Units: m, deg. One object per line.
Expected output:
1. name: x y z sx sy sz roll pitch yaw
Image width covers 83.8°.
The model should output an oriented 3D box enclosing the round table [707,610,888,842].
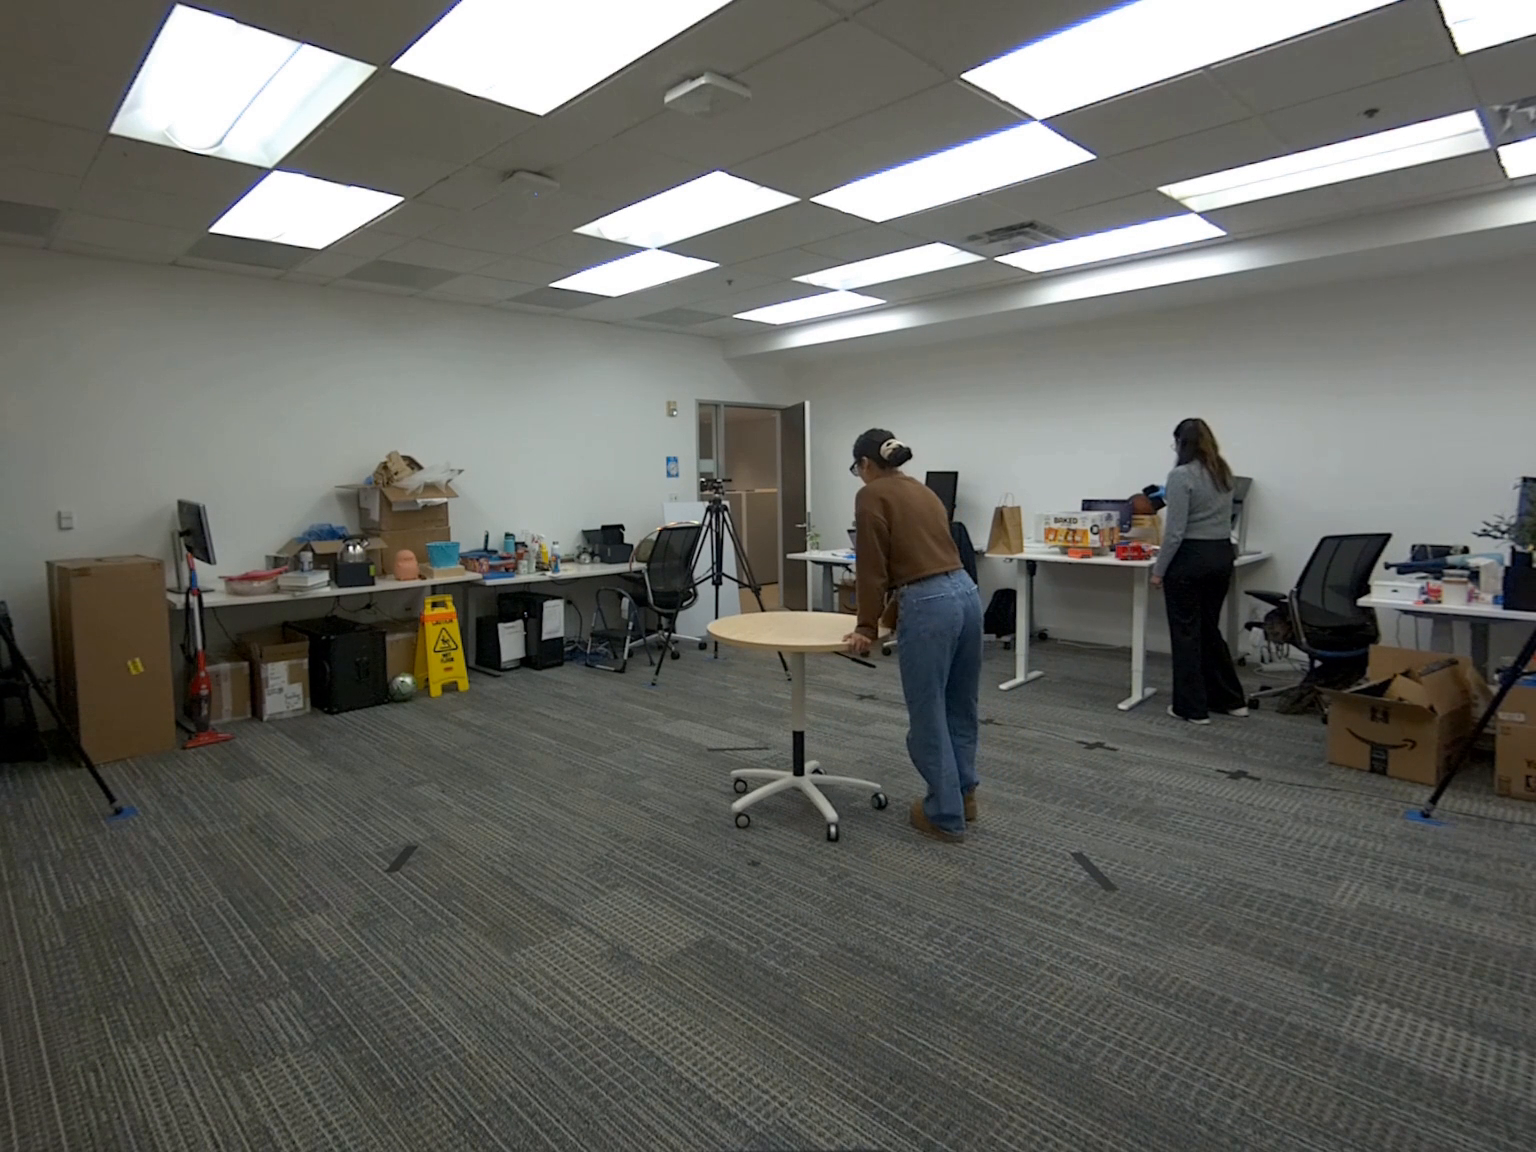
1. round table: 0.137 0.599 3.613 0.763 0.791 0.768 0 5 -2
